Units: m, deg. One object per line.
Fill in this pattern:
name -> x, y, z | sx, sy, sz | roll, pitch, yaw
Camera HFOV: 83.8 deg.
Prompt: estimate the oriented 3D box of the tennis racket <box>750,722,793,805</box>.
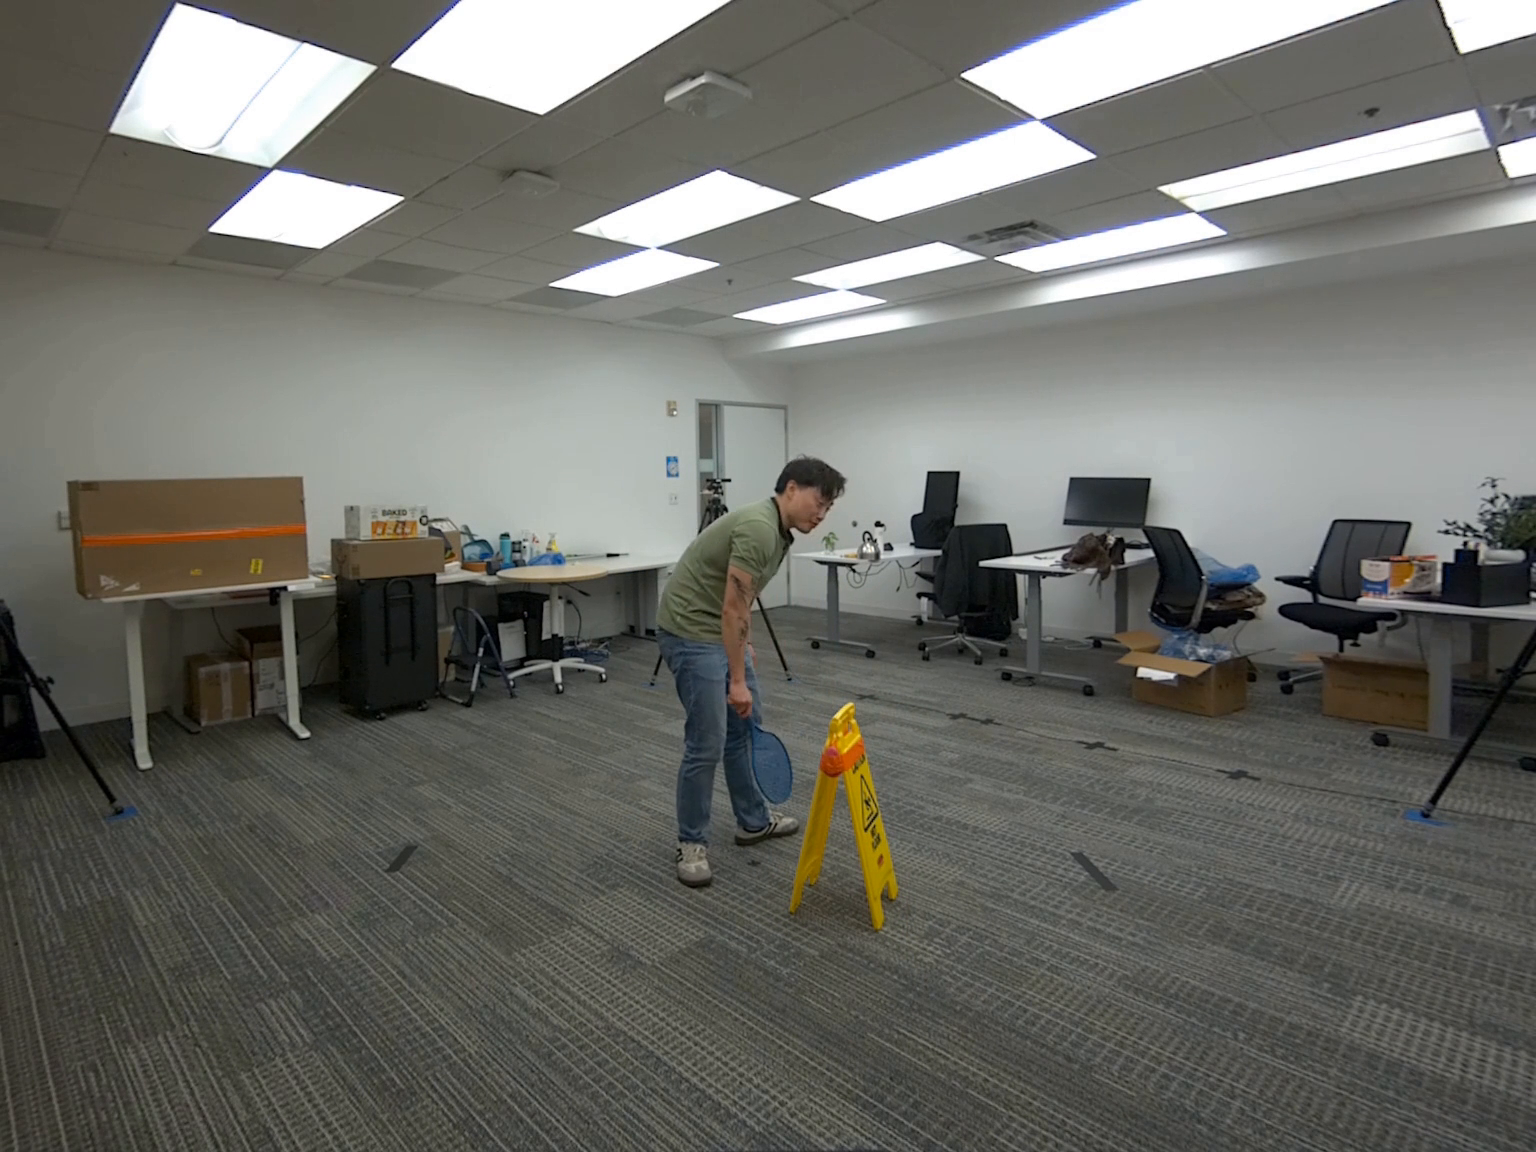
tennis racket -> -0.025, 0.614, 3.006 | 0.032, 0.425, 0.213 | -7, 18, 29
